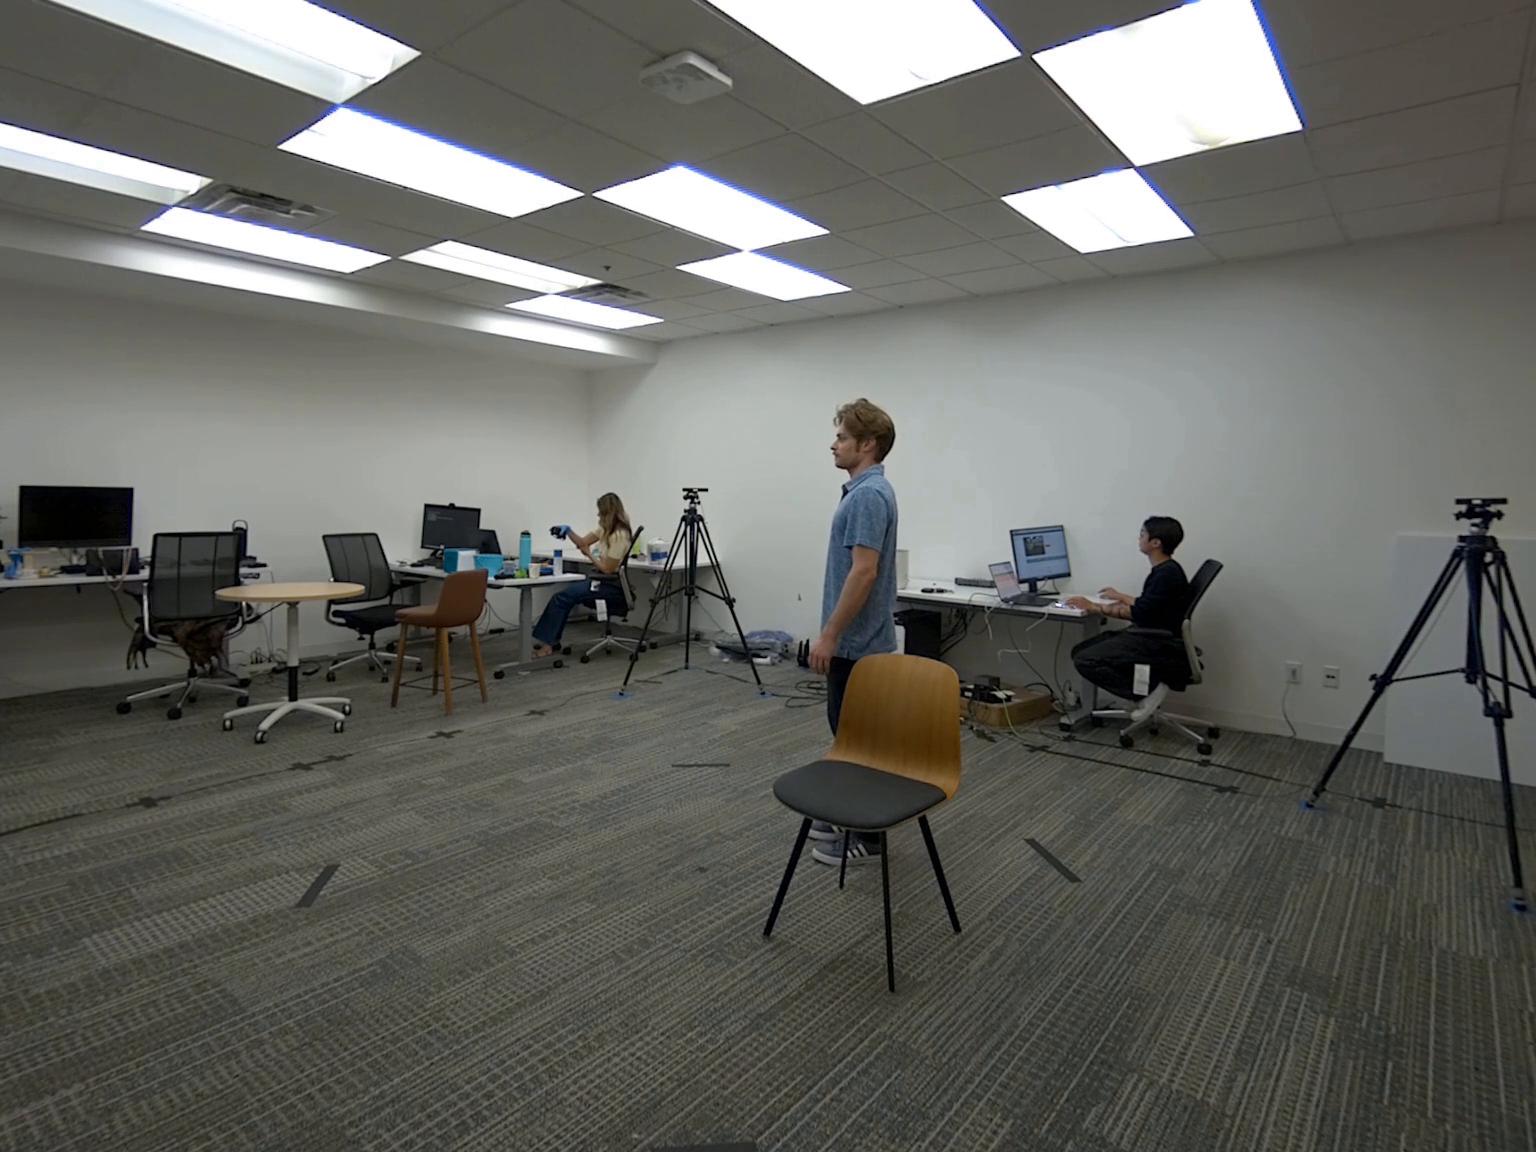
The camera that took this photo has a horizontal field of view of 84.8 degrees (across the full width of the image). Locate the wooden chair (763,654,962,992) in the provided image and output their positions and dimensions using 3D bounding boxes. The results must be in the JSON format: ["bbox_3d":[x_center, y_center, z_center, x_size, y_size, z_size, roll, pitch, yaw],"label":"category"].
[{"bbox_3d":[0.300,0.696,2.648,0.494,0.877,0.506,5,0,38],"label":"wooden chair"}]
